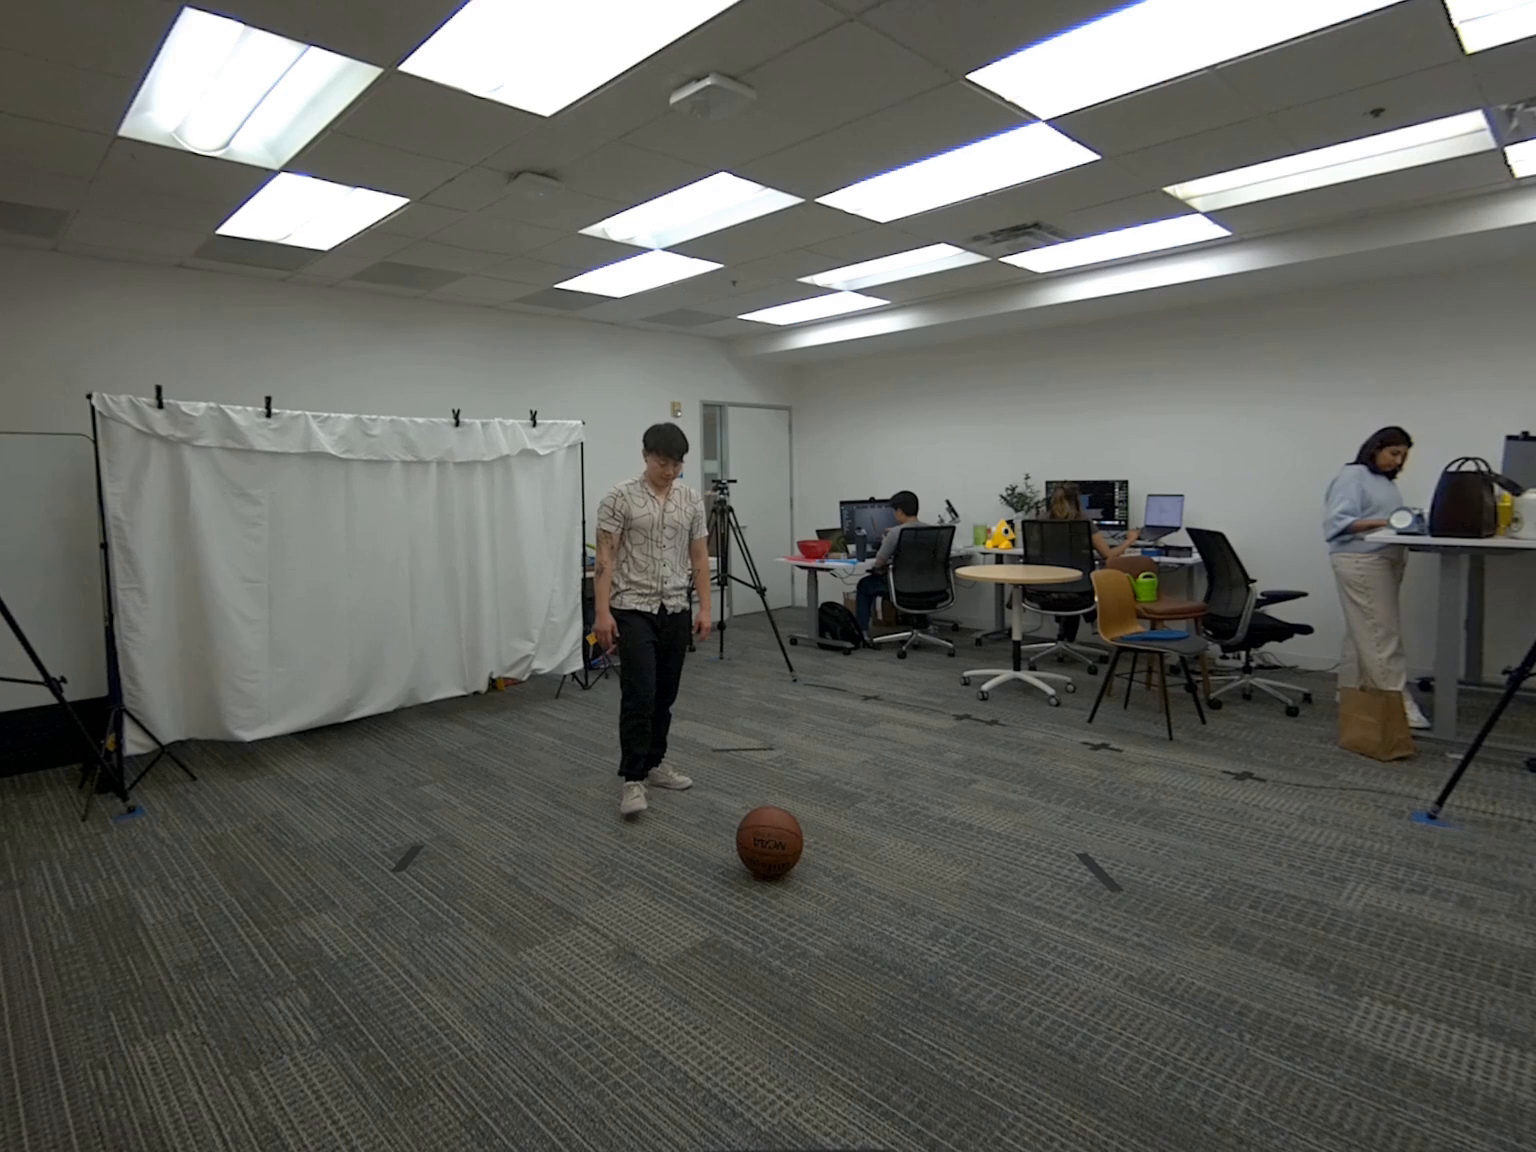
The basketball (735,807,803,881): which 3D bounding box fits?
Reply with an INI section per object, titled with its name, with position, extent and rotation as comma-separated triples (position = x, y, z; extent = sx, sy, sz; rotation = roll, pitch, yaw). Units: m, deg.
[basketball]
position = 0.006, 0.932, 3.021
extent = 0.236, 0.235, 0.237
rotation = -1, 5, -2
